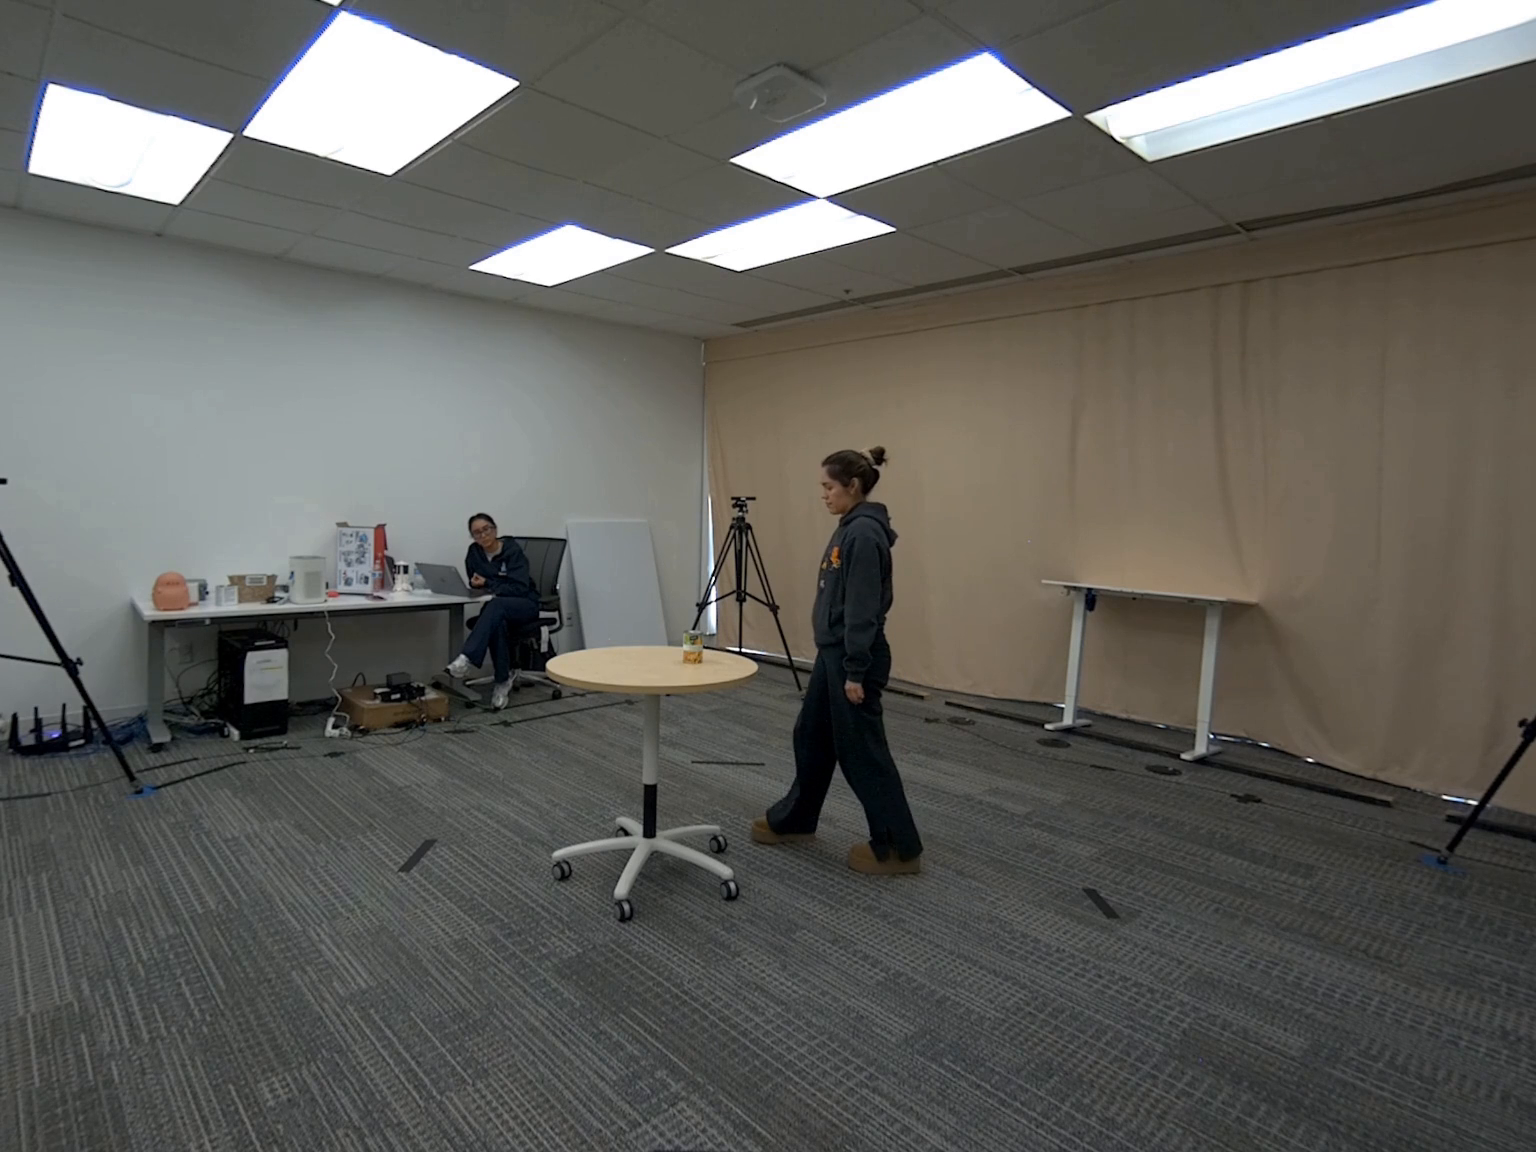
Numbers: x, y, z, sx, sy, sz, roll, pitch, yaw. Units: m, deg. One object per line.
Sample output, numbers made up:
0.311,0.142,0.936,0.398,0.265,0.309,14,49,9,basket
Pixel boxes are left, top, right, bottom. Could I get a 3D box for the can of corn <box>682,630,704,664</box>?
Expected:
-0.282,0.263,3.130,0.074,0.111,0.074,2,2,-1,can of corn
